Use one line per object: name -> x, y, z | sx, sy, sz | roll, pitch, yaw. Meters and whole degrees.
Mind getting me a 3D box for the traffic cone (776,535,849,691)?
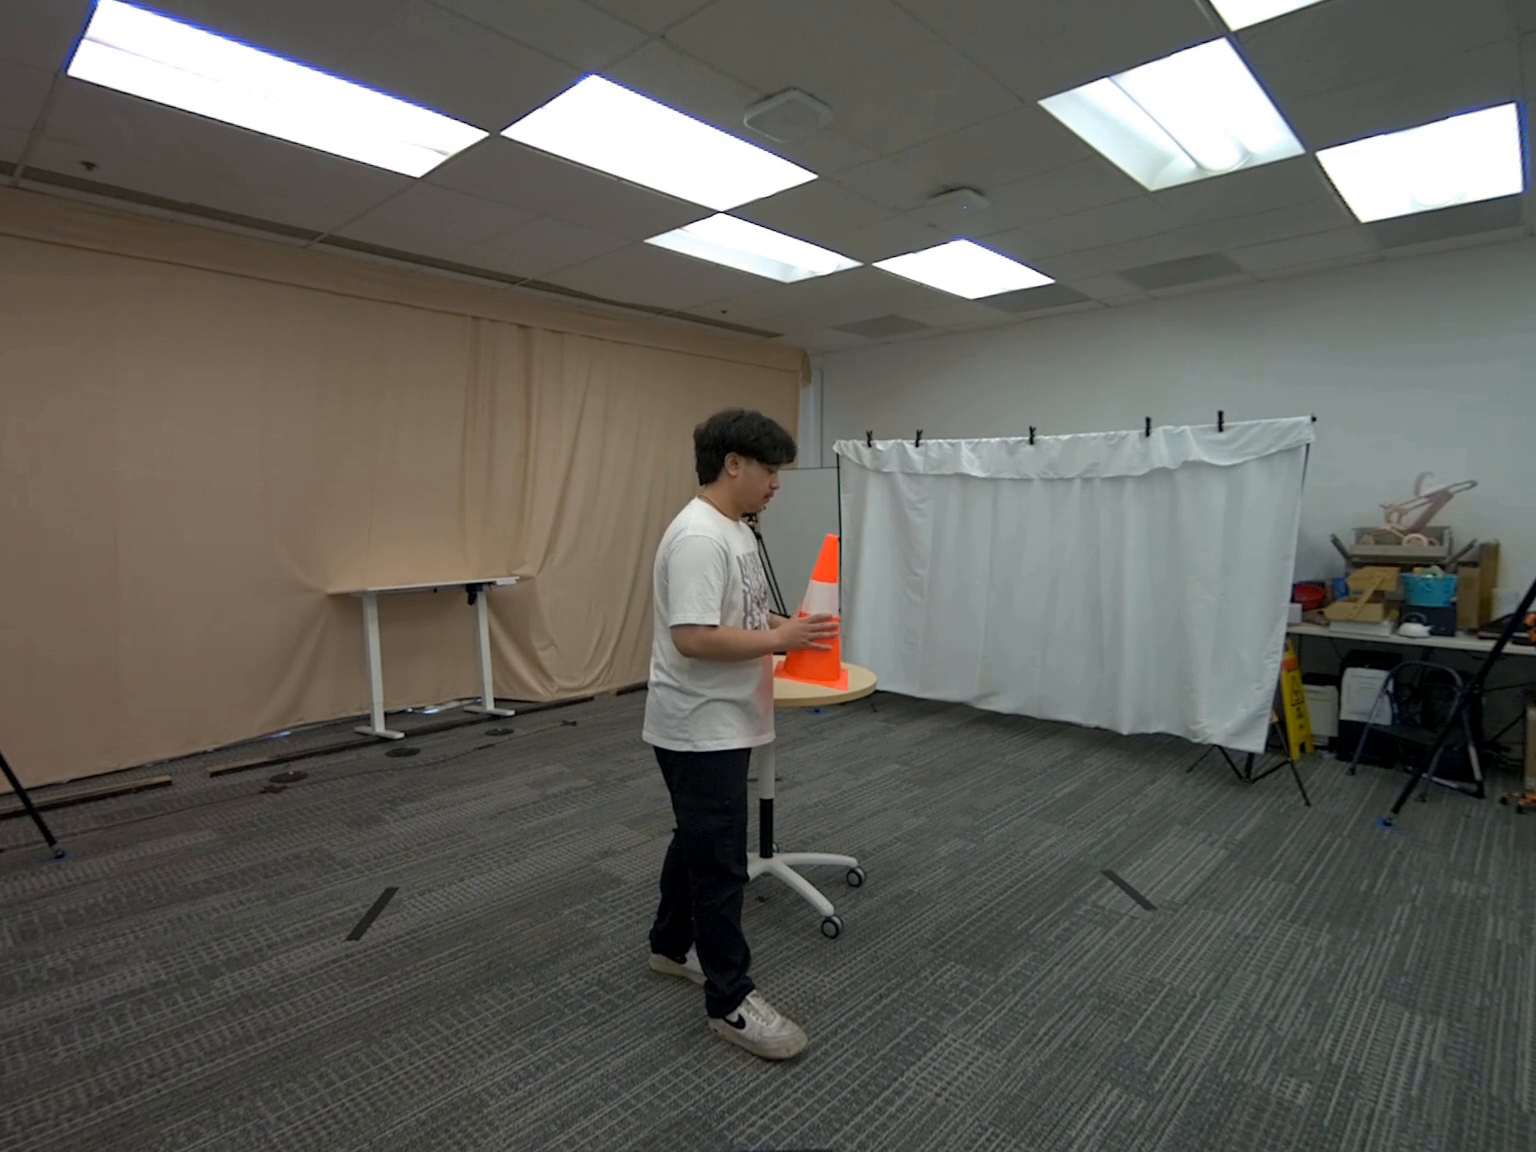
traffic cone -> 0.151, 0.081, 2.239 | 0.207, 0.383, 0.202 | 9, 5, 14
